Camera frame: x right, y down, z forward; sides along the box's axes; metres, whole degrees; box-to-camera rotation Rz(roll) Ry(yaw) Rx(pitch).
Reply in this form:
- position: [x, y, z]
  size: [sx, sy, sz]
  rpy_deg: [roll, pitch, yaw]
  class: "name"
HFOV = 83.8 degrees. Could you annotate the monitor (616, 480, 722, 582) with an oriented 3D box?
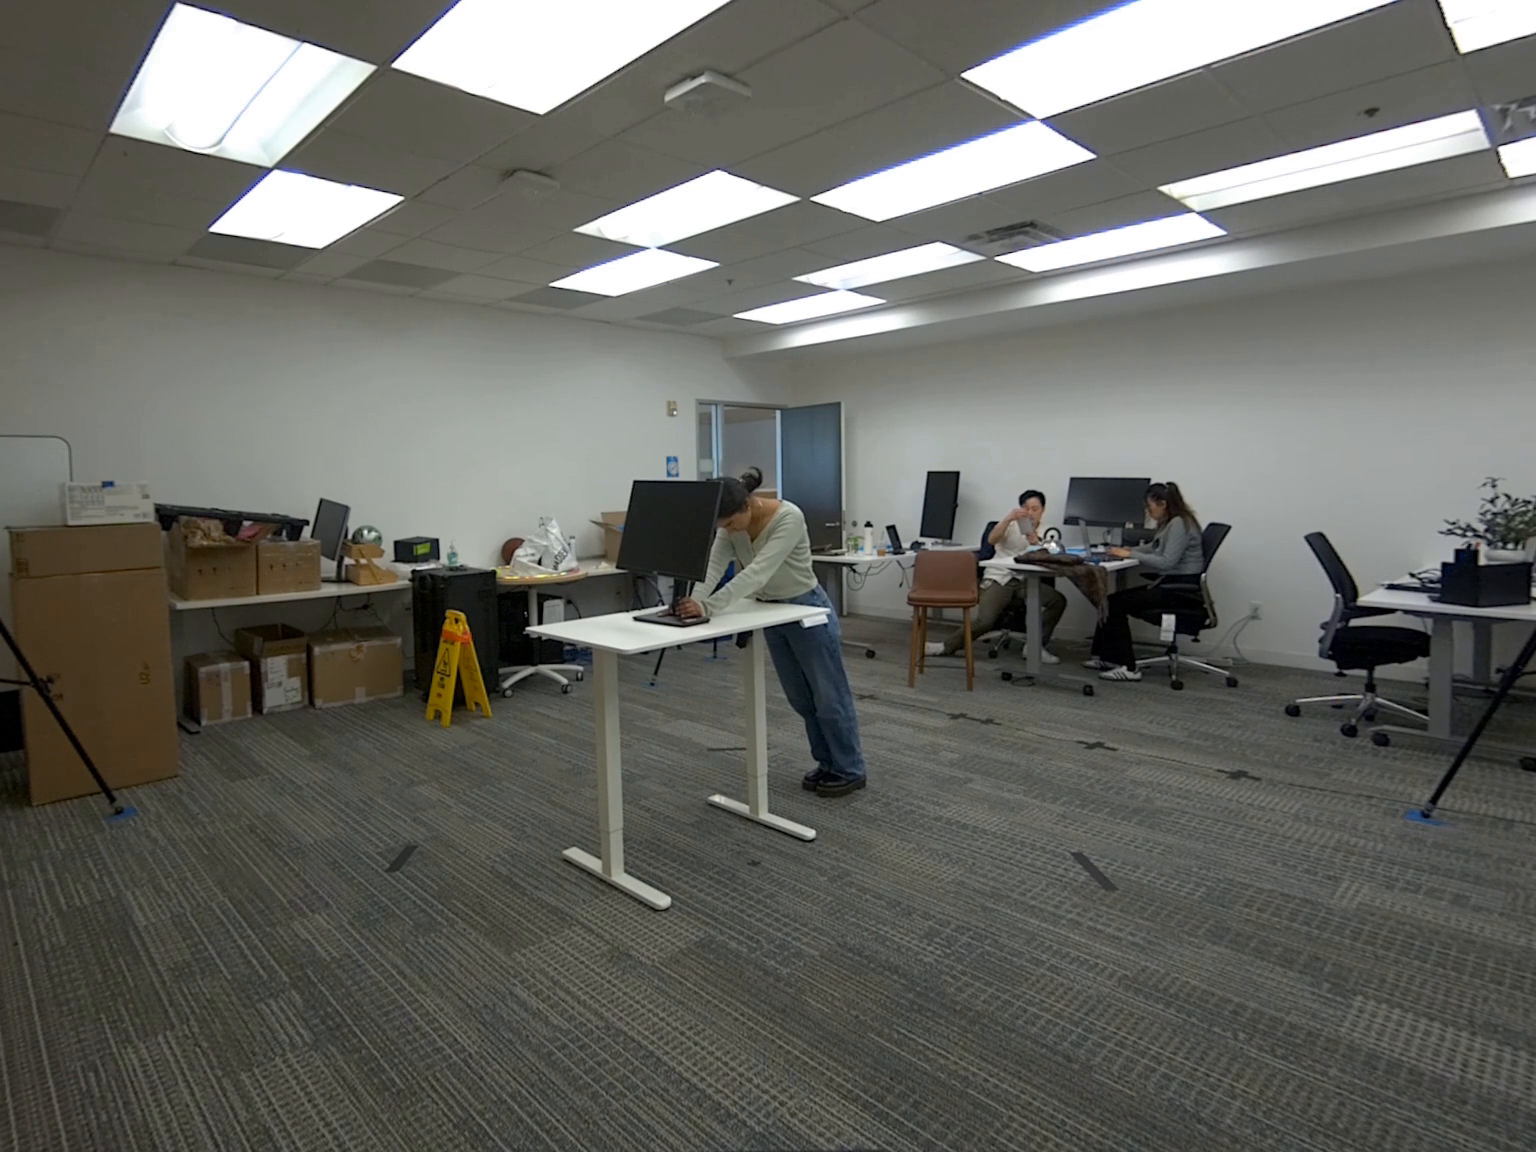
- position: [-0.346, -0.087, 3.126]
  size: [0.182, 0.521, 0.556]
  rpy_deg: [-2, 5, -44]
  class: "monitor"
